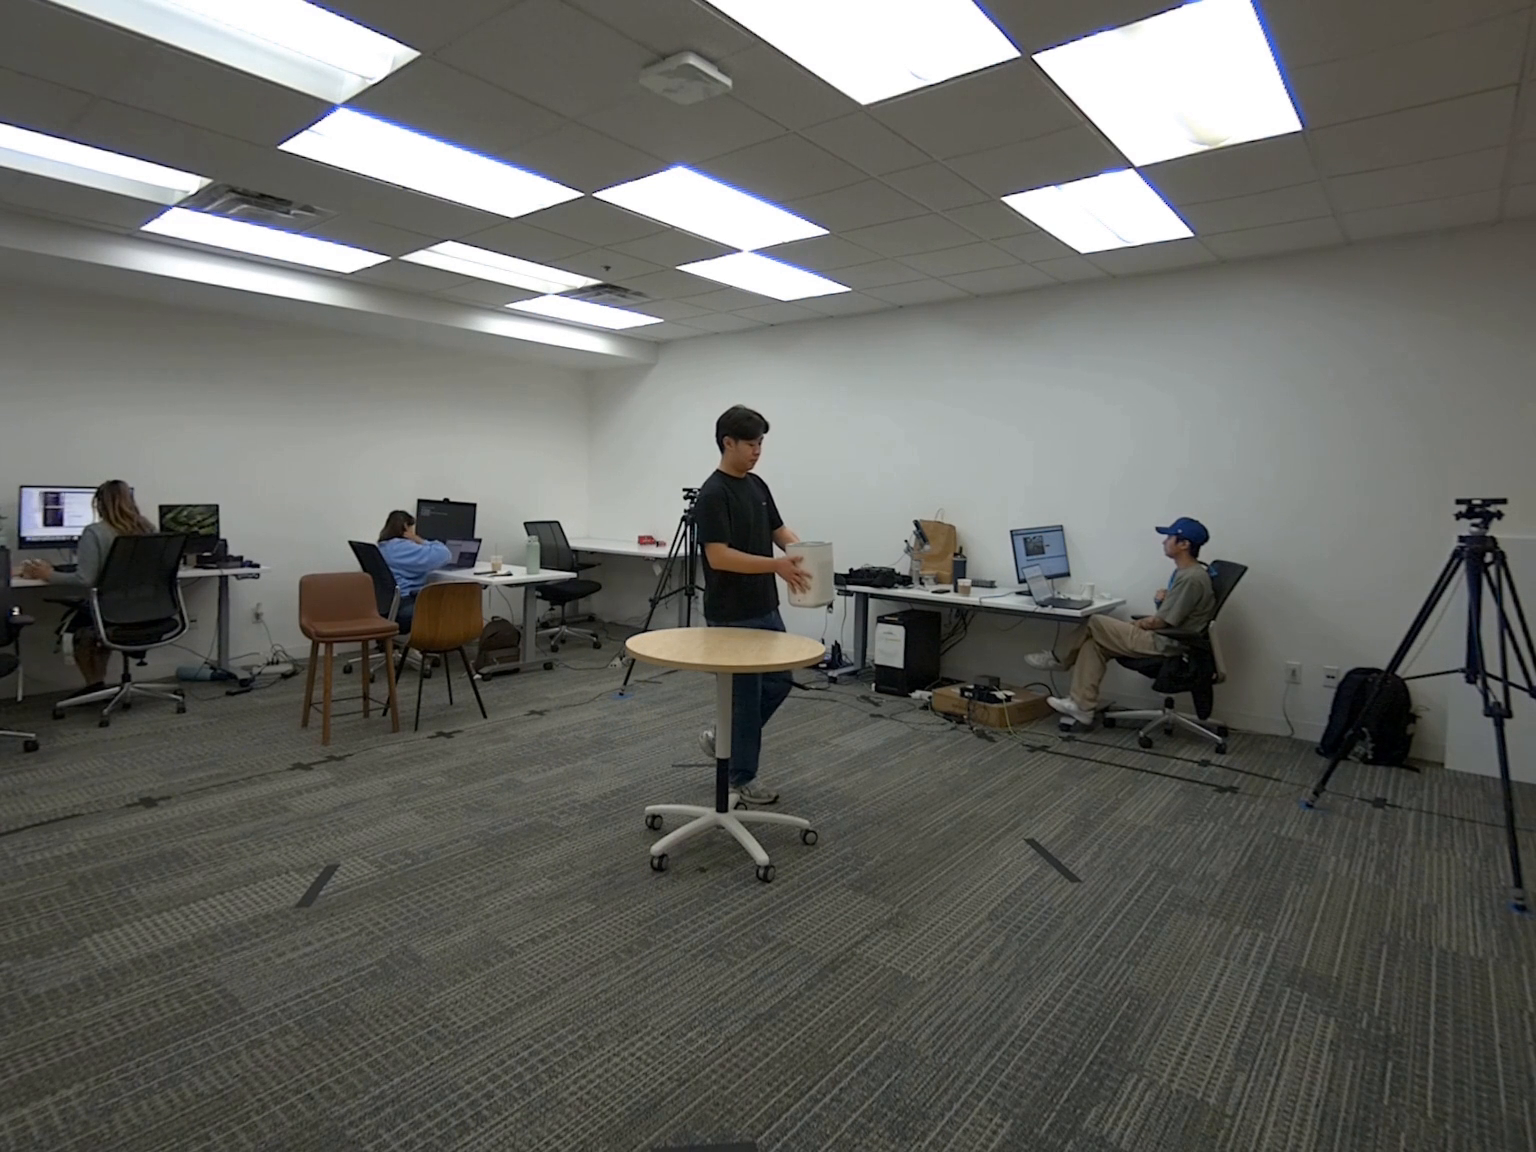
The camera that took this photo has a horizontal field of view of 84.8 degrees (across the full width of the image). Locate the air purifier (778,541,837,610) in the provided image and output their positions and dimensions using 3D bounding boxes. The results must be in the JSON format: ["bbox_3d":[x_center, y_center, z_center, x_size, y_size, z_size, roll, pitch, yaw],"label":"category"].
[{"bbox_3d":[0.167,-0.010,3.605,0.176,0.264,0.167,1,6,38],"label":"air purifier"}]
